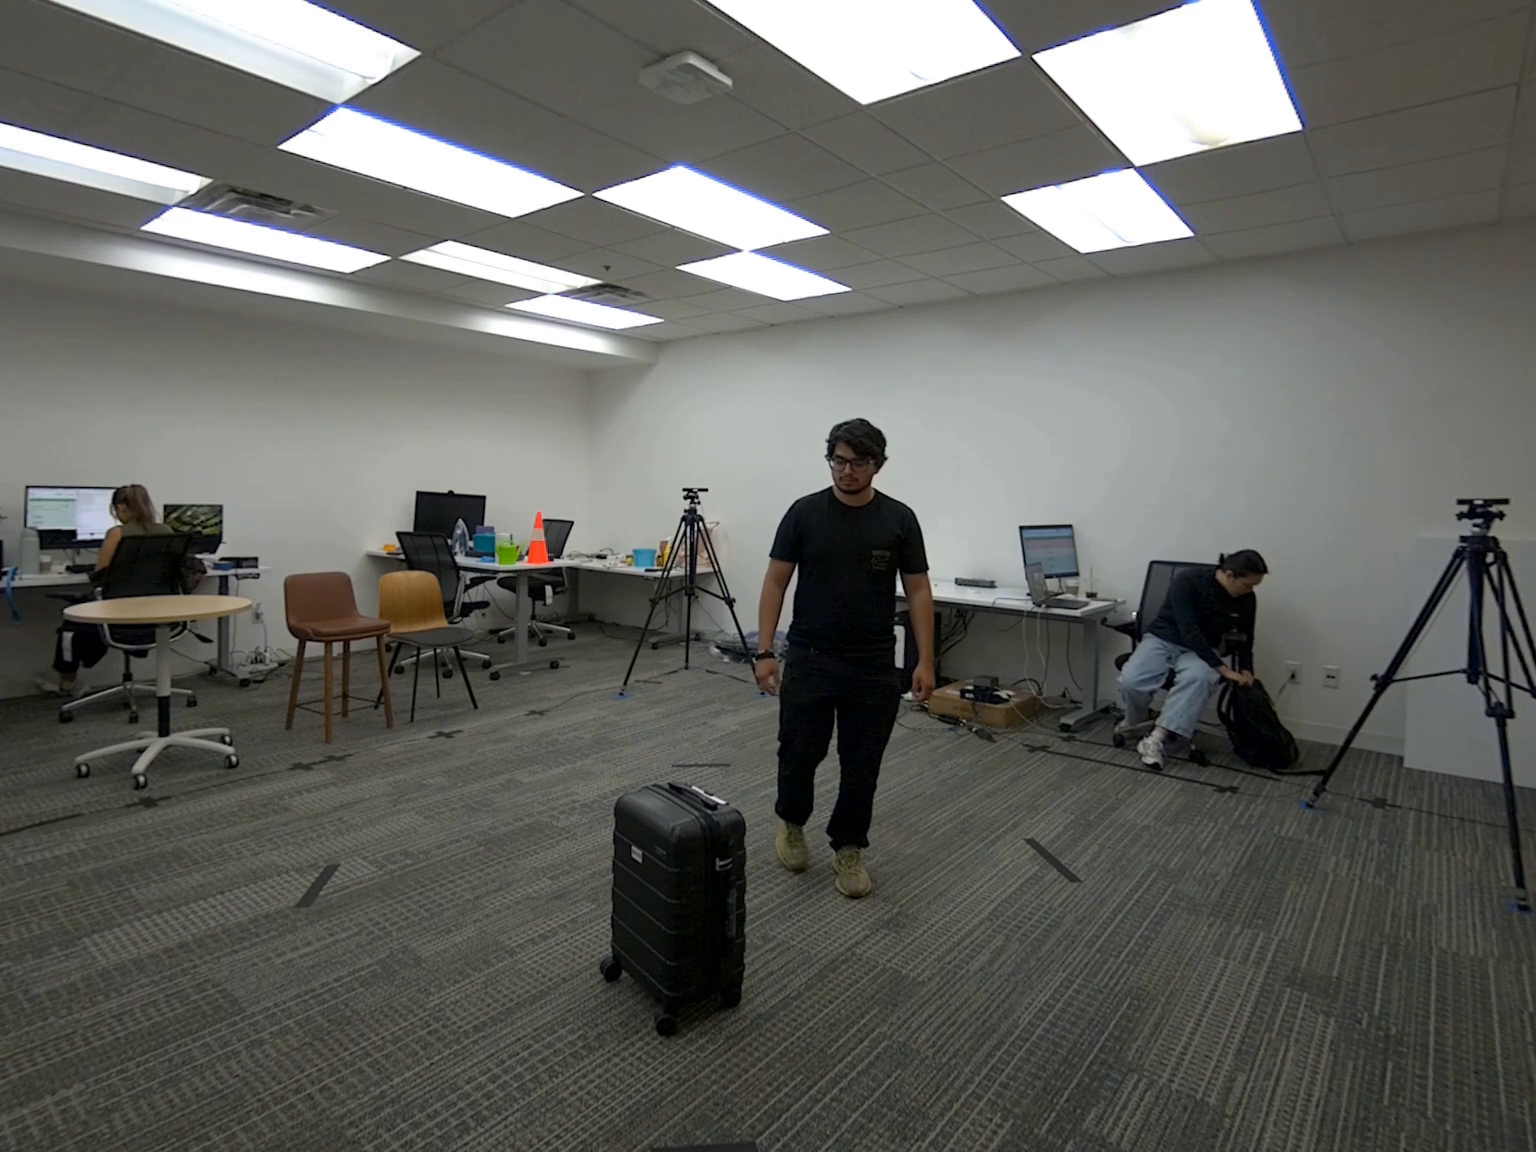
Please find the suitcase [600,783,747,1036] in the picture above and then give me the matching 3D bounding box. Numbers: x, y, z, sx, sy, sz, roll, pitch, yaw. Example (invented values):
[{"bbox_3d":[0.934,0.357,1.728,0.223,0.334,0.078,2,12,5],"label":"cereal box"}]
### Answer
[{"bbox_3d":[-0.256,0.867,2.337,0.241,0.548,0.388,0,5,-39],"label":"suitcase"}]
